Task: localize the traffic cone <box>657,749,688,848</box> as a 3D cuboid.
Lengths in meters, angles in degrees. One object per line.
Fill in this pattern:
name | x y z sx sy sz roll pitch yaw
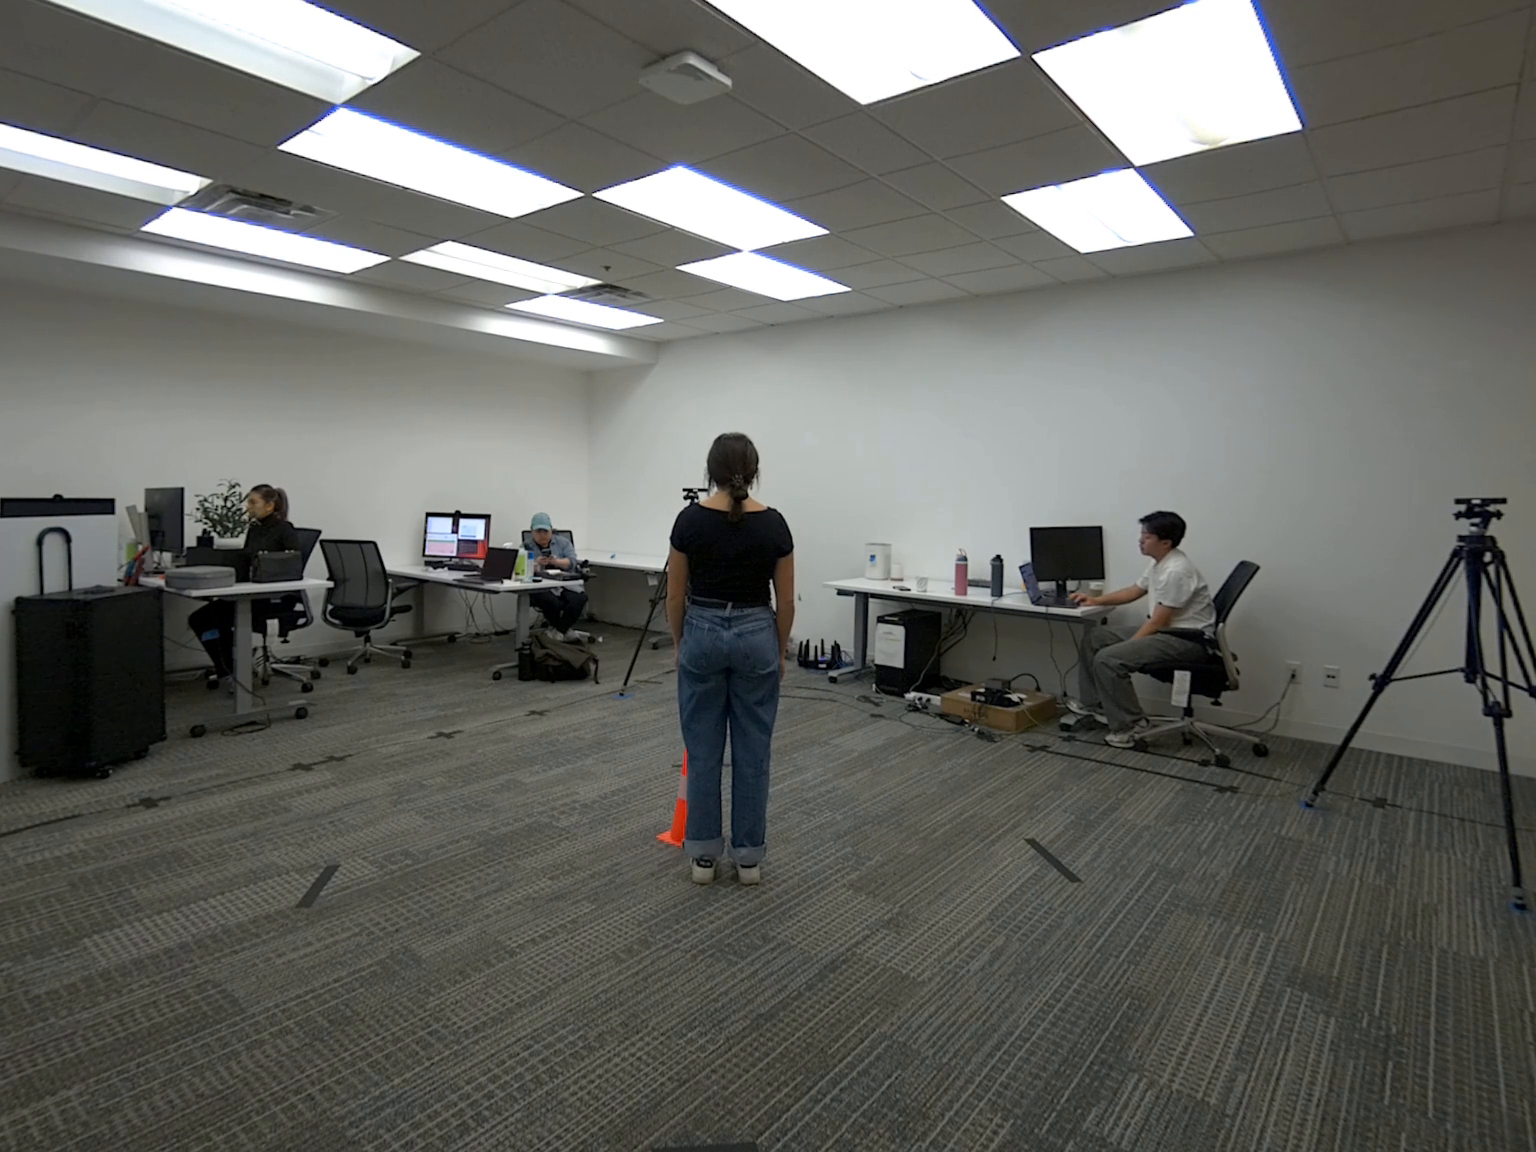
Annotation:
traffic cone | -0.314 0.848 3.386 0.210 0.382 0.199 2 5 37
